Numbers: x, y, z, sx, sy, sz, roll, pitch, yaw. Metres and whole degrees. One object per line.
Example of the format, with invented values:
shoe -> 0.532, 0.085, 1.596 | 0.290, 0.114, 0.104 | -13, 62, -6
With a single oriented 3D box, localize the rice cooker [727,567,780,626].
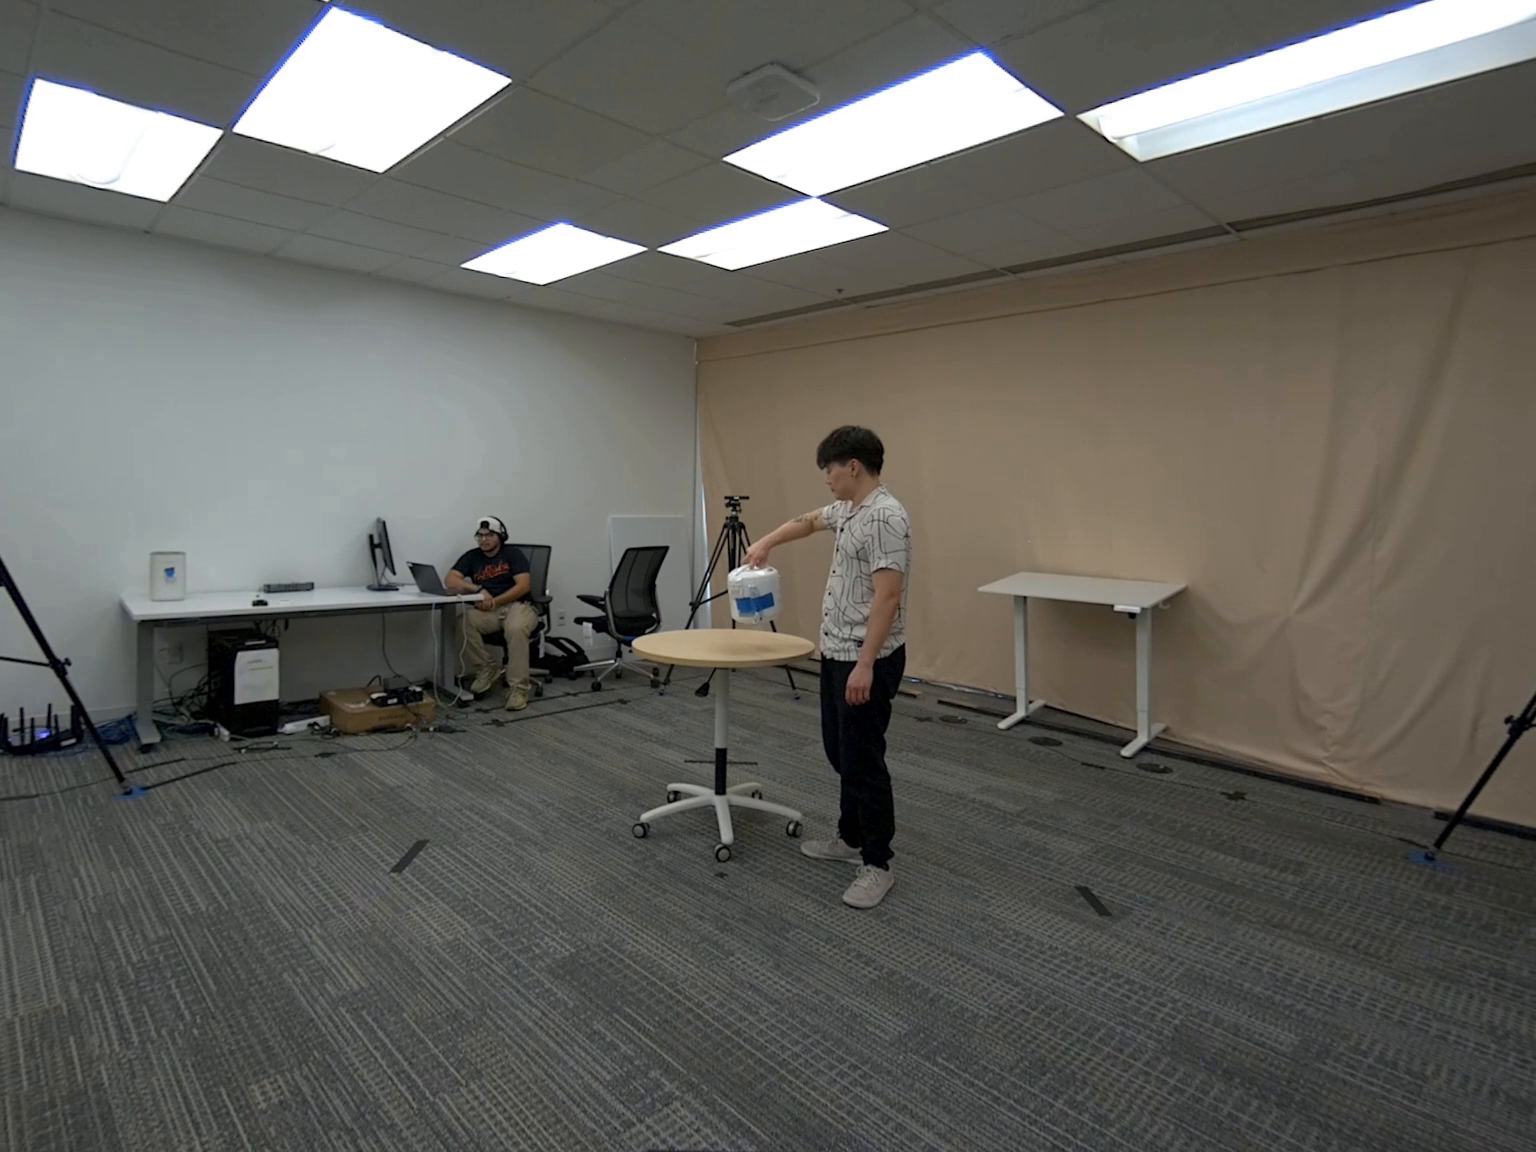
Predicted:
rice cooker -> -0.063, 0.057, 3.384 | 0.216, 0.231, 0.223 | -10, 11, -43
